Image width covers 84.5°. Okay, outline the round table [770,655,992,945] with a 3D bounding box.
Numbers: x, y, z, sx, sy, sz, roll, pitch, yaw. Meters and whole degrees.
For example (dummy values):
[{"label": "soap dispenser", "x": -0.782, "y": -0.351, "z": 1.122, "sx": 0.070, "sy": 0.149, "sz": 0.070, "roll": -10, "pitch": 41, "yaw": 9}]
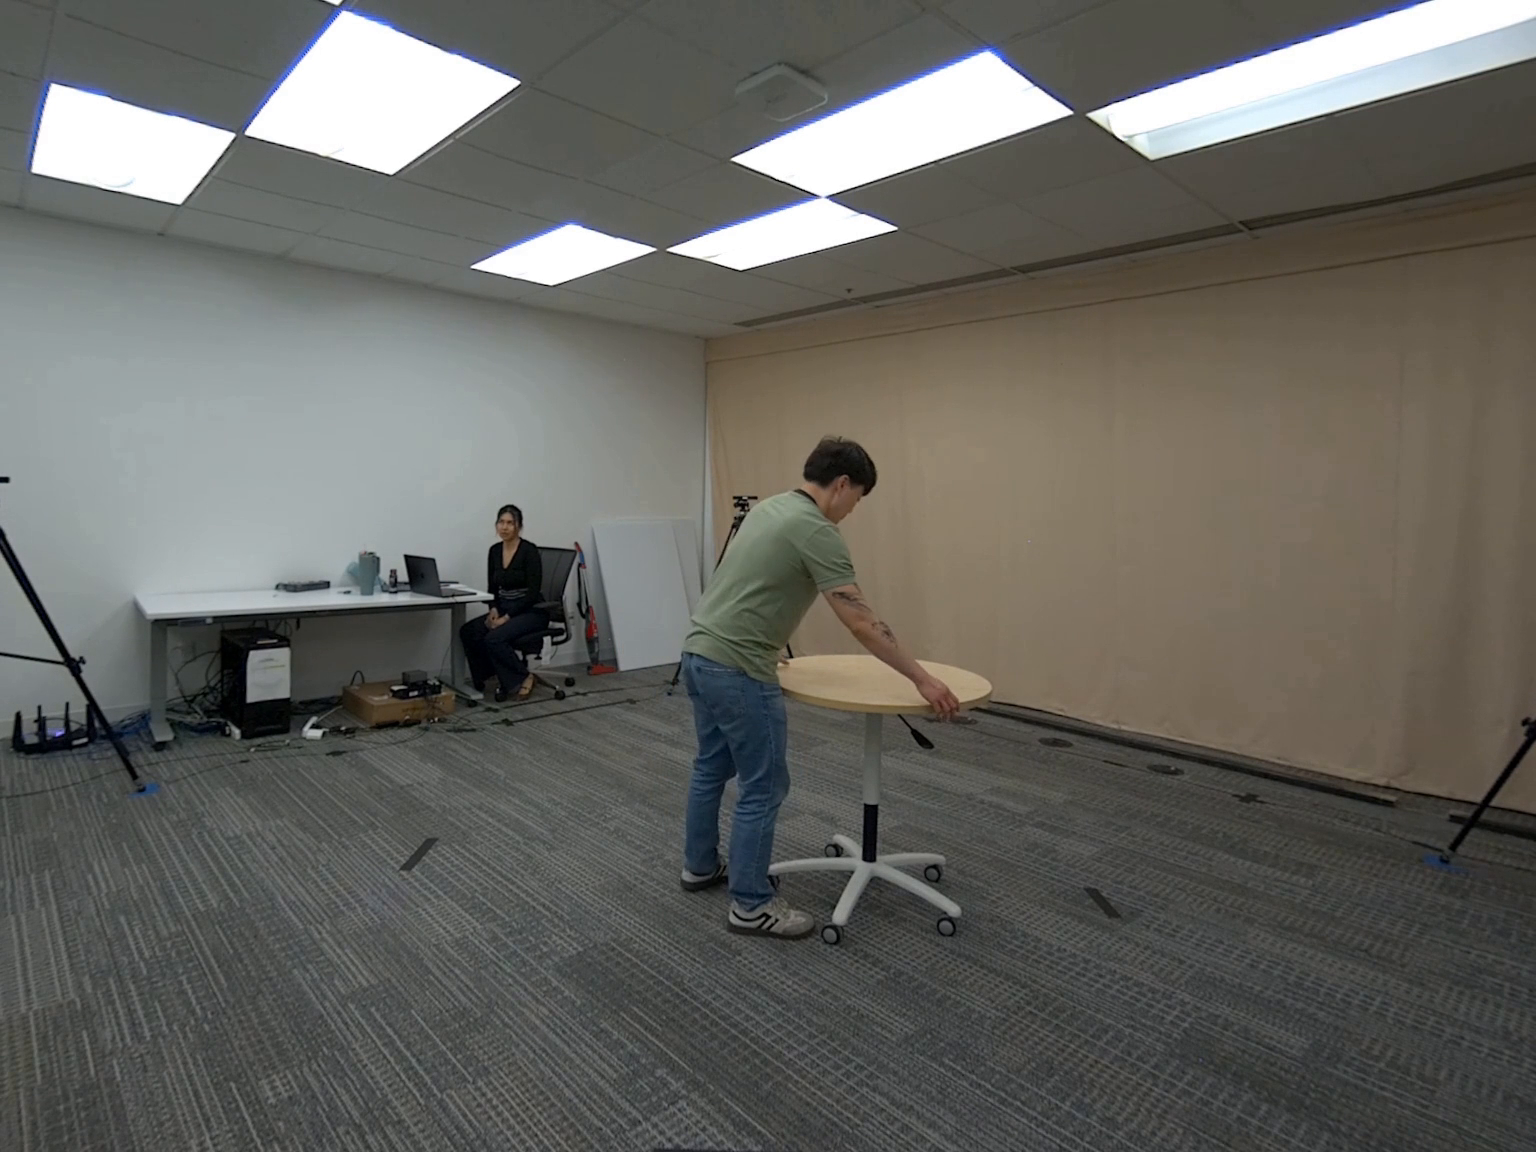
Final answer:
[{"label": "round table", "x": 0.358, "y": 0.745, "z": 2.916, "sx": 0.763, "sy": 0.791, "sz": 0.767, "roll": 1, "pitch": 5, "yaw": -1}]
